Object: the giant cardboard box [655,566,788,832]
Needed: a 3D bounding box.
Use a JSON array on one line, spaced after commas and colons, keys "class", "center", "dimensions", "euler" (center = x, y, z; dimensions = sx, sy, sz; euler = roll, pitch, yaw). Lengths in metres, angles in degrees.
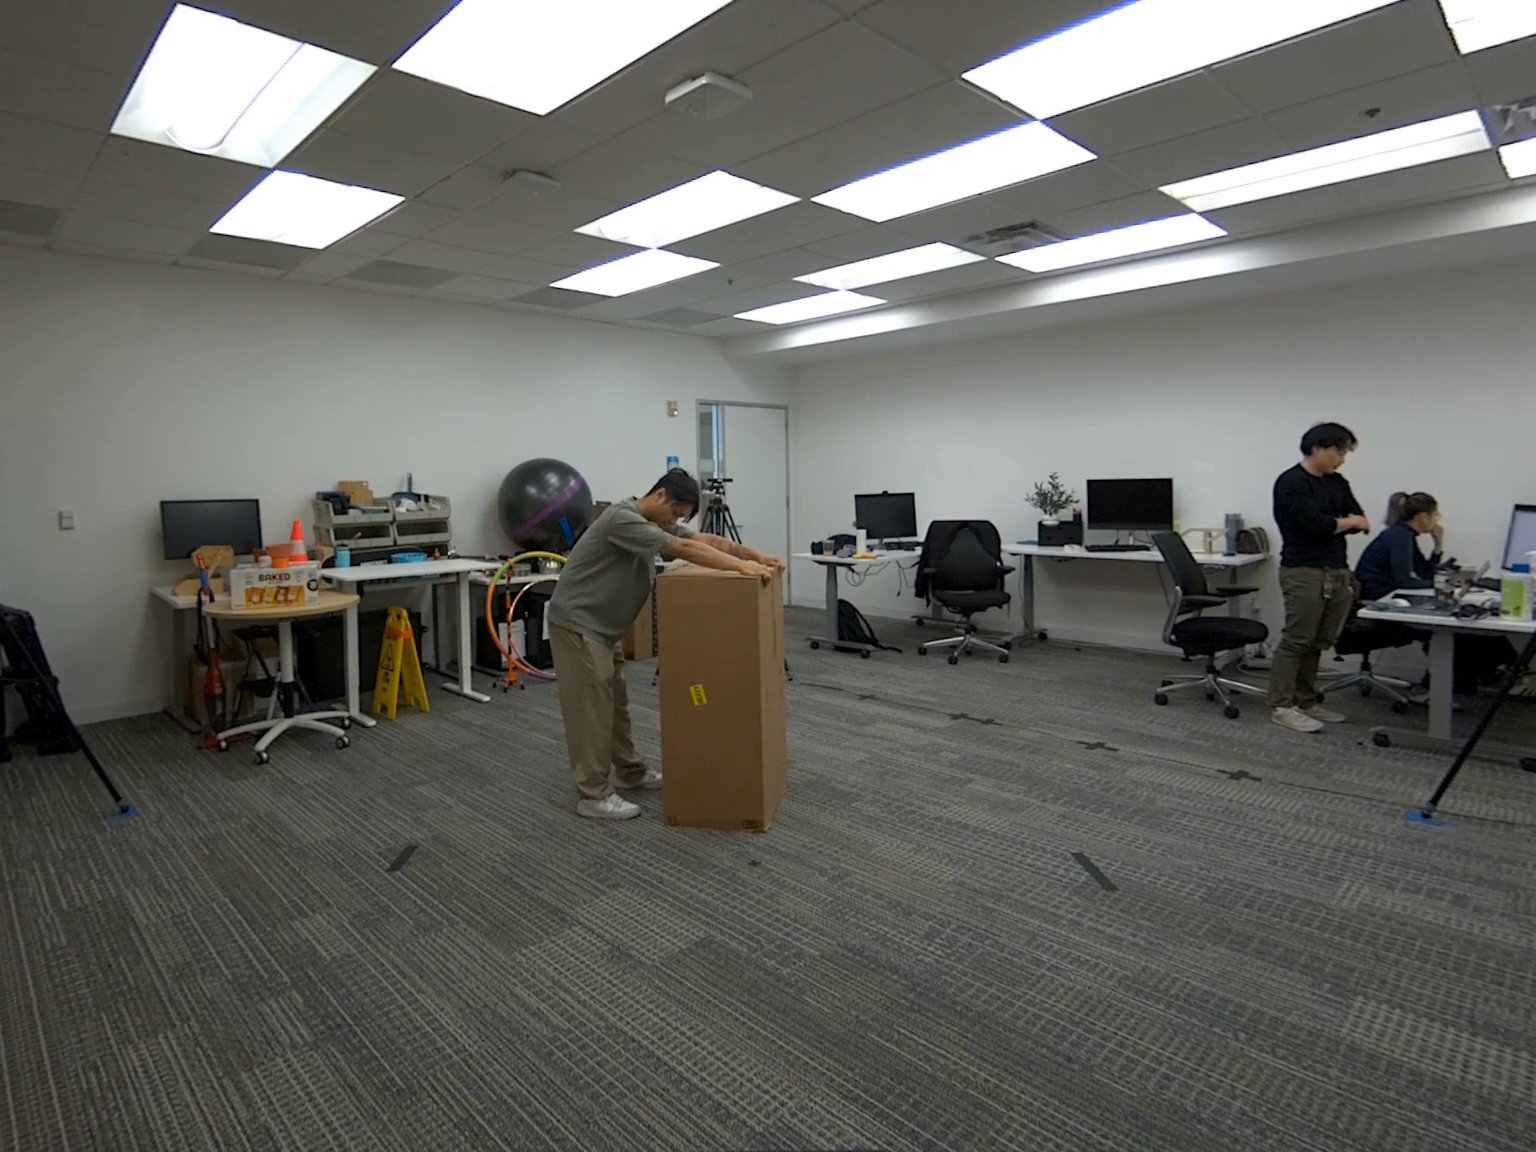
[{"class": "giant cardboard box", "center": [-0.181, 0.473, 3.665], "dimensions": [0.432, 1.022, 0.573], "euler": [0, 5, 12]}]
